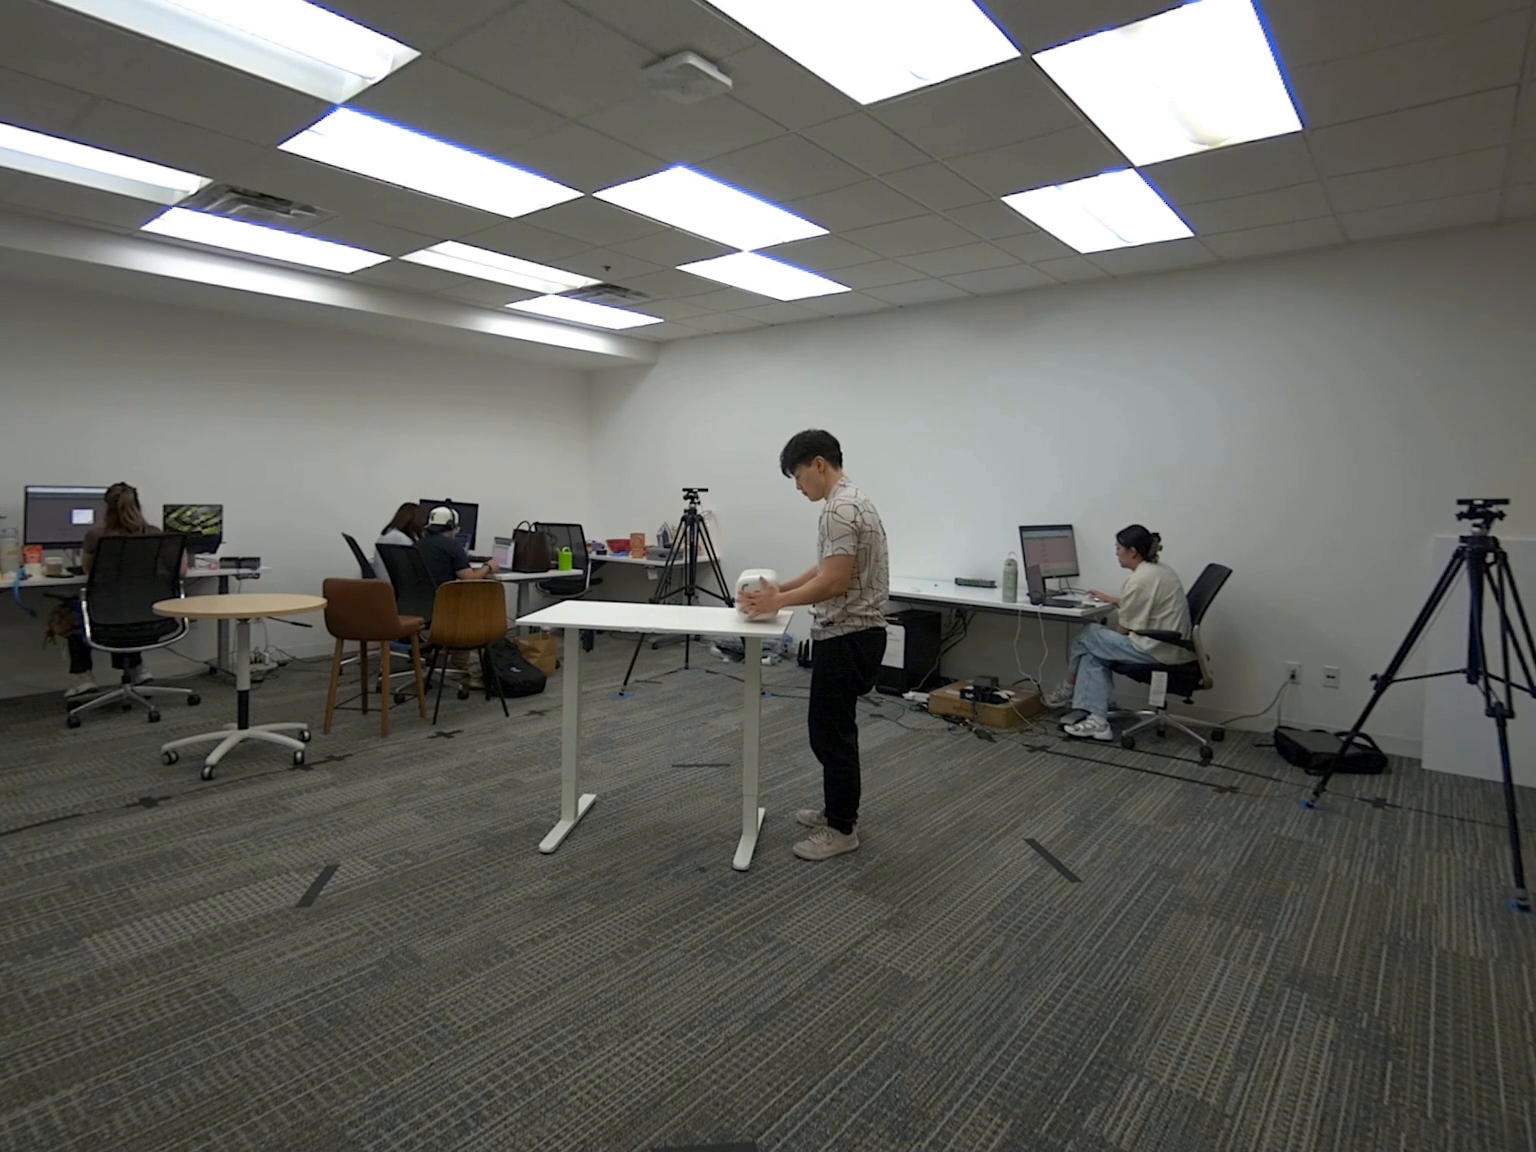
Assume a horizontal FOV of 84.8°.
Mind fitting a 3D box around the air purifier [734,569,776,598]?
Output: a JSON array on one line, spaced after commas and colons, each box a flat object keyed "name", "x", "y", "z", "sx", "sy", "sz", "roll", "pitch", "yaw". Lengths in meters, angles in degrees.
[{"name": "air purifier", "x": -0.048, "y": 0.066, "z": 3.362, "sx": 0.172, "sy": 0.170, "sz": 0.266, "roll": -1, "pitch": 6, "yaw": 2}]
